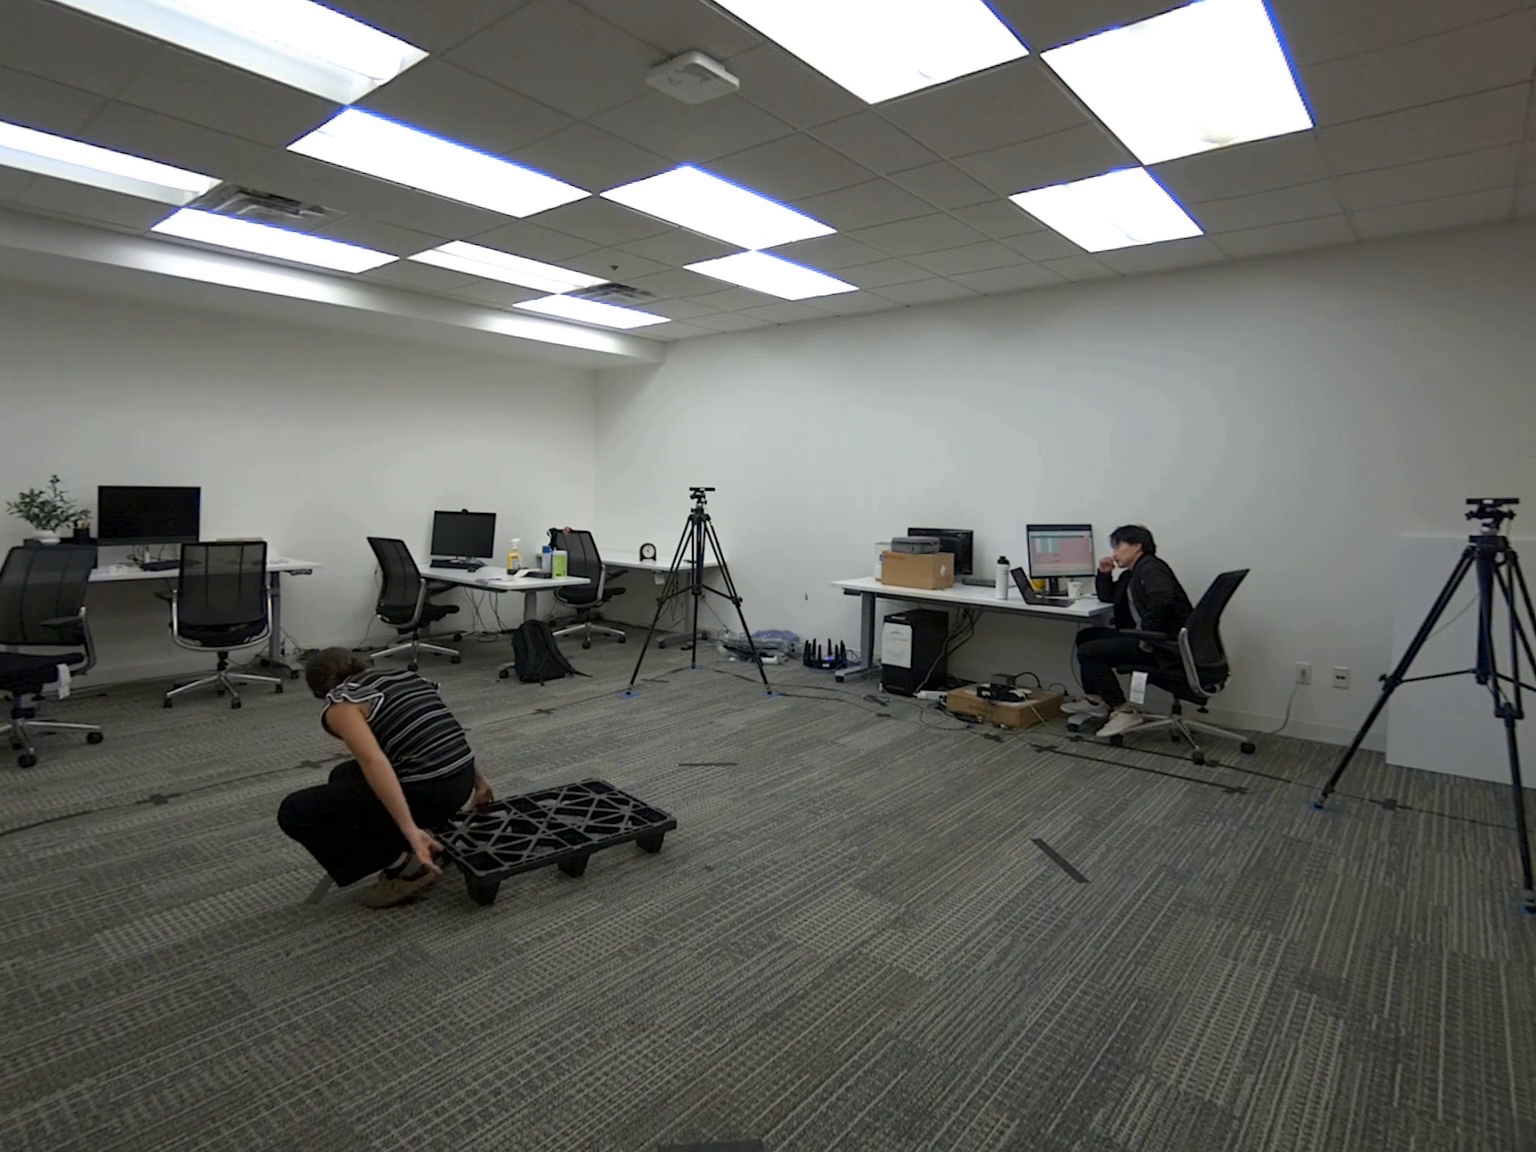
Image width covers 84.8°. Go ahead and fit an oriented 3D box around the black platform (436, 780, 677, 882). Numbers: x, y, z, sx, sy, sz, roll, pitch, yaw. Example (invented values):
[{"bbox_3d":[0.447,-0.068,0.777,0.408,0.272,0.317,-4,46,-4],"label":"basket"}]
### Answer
[{"bbox_3d":[-0.849,0.979,3.206,0.781,0.143,0.625,-4,6,-41],"label":"black platform"}]
